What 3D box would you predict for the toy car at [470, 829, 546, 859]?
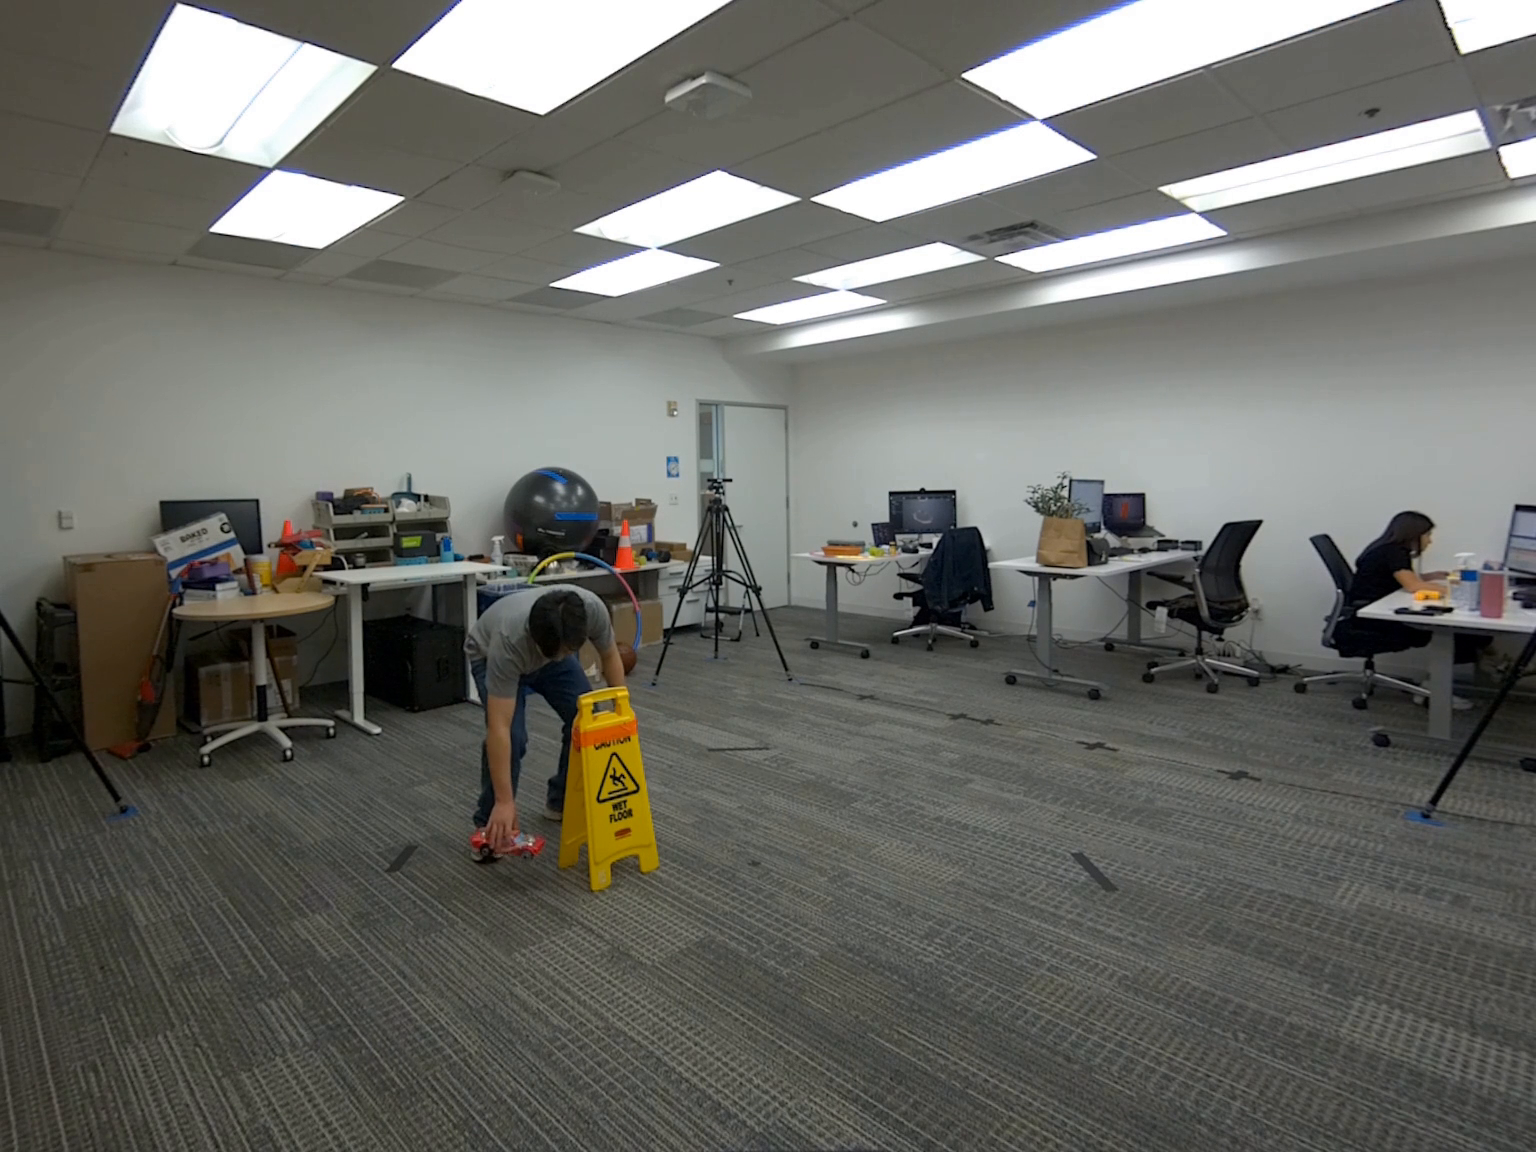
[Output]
[{"bbox_3d":[-0.909,0.932,2.991,0.257,0.083,0.130,13,6,7],"label":"toy car"}]
